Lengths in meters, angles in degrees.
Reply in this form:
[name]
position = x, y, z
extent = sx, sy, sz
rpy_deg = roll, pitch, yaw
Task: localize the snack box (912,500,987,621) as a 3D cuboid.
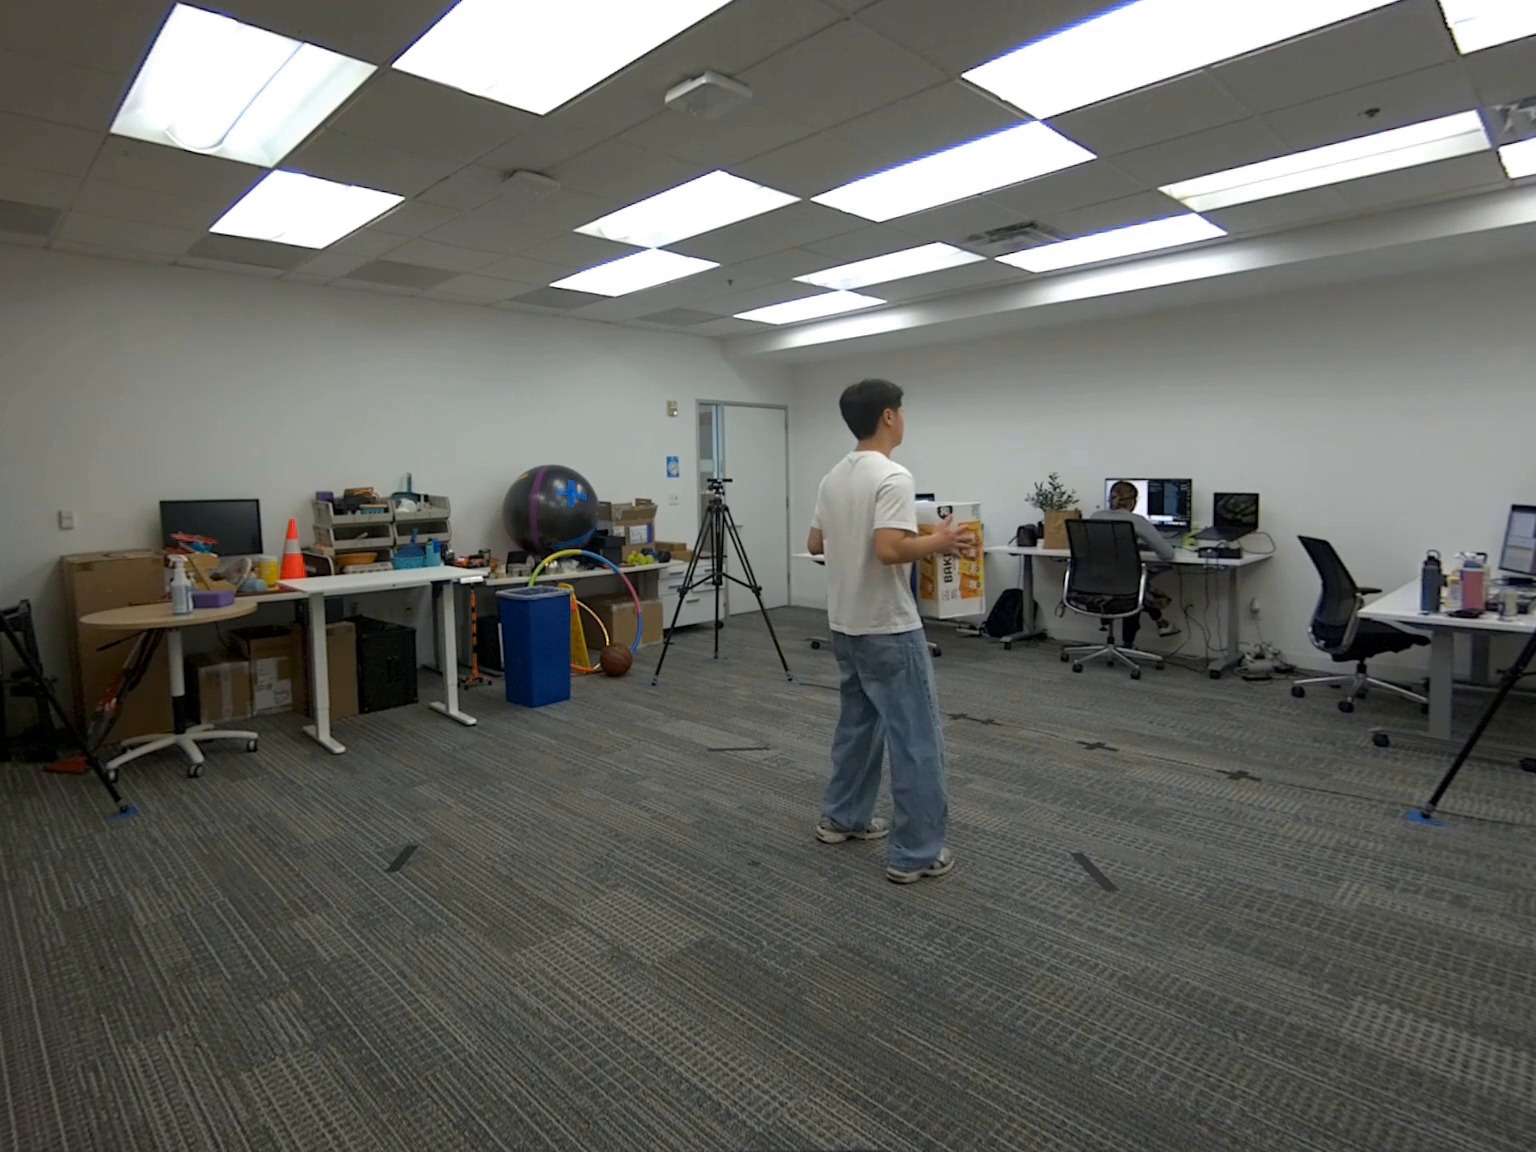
[snack box]
position = 0.620, -0.074, 3.220
extent = 0.202, 0.403, 0.348
rpy_deg = -5, 6, -22
